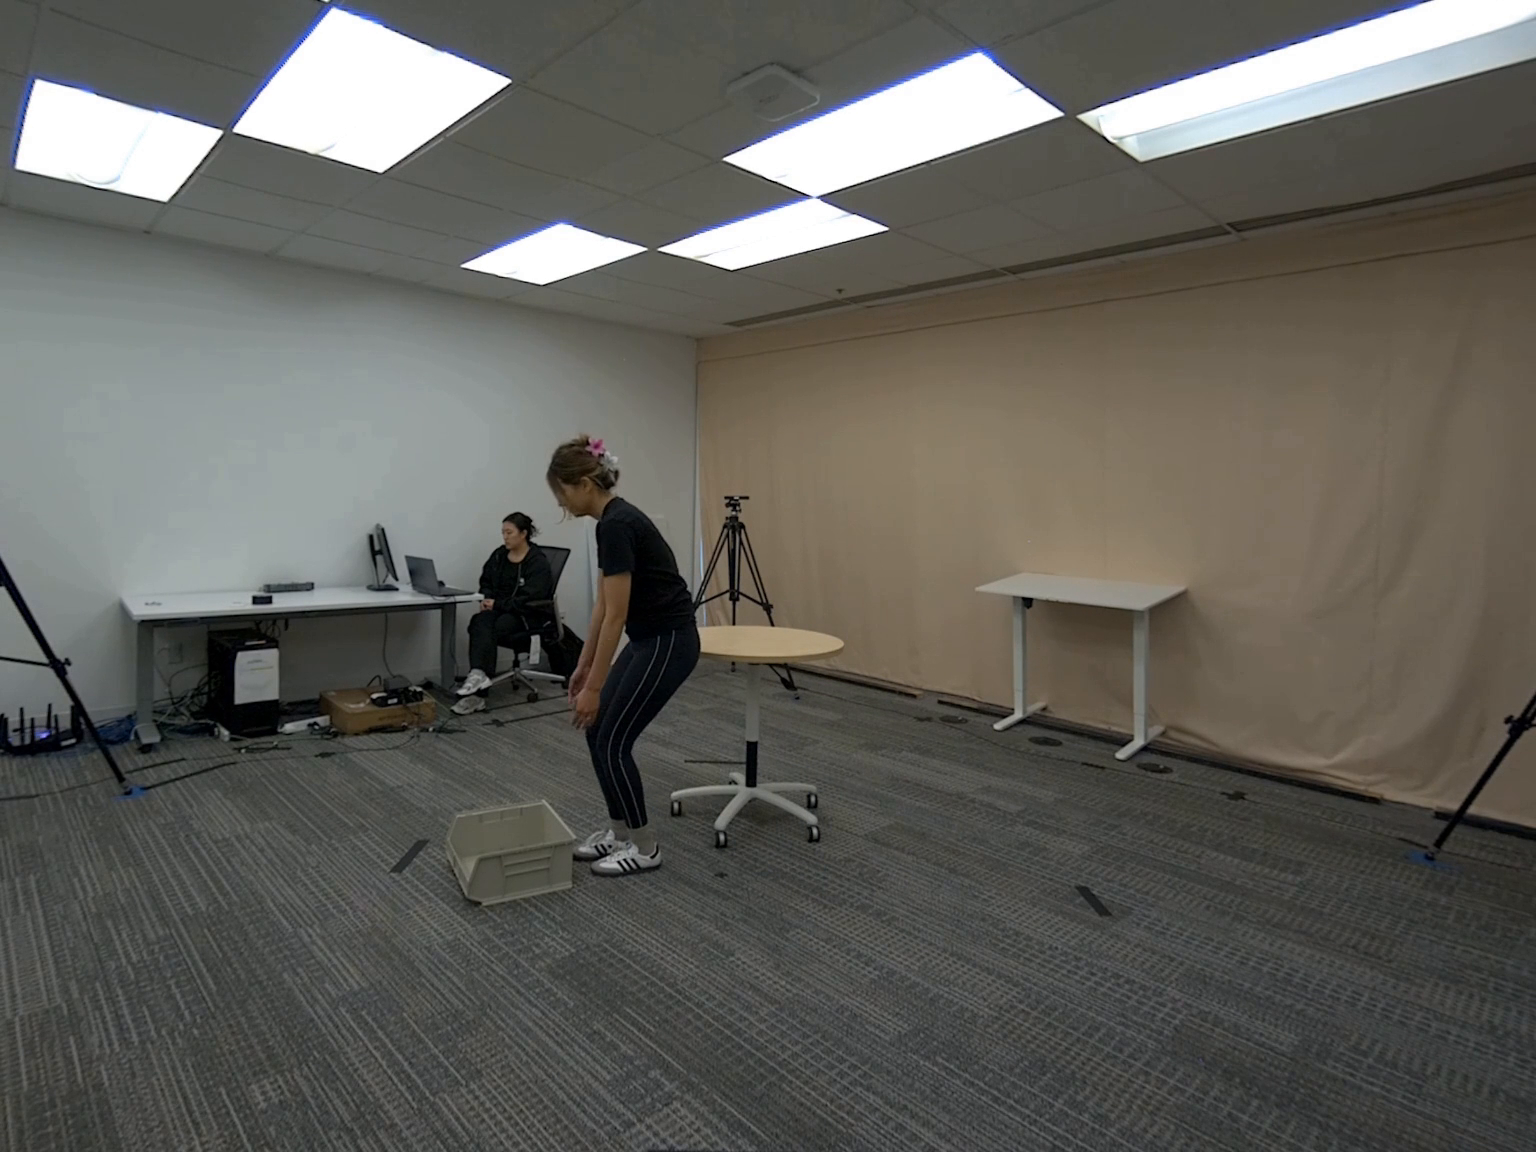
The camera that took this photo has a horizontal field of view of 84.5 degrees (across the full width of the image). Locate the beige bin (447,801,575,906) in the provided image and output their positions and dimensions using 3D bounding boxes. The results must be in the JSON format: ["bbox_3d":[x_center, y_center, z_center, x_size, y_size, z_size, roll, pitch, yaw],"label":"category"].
[{"bbox_3d":[-0.950,1.002,3.064,0.370,0.188,0.432,0,5,-29],"label":"beige bin"}]
